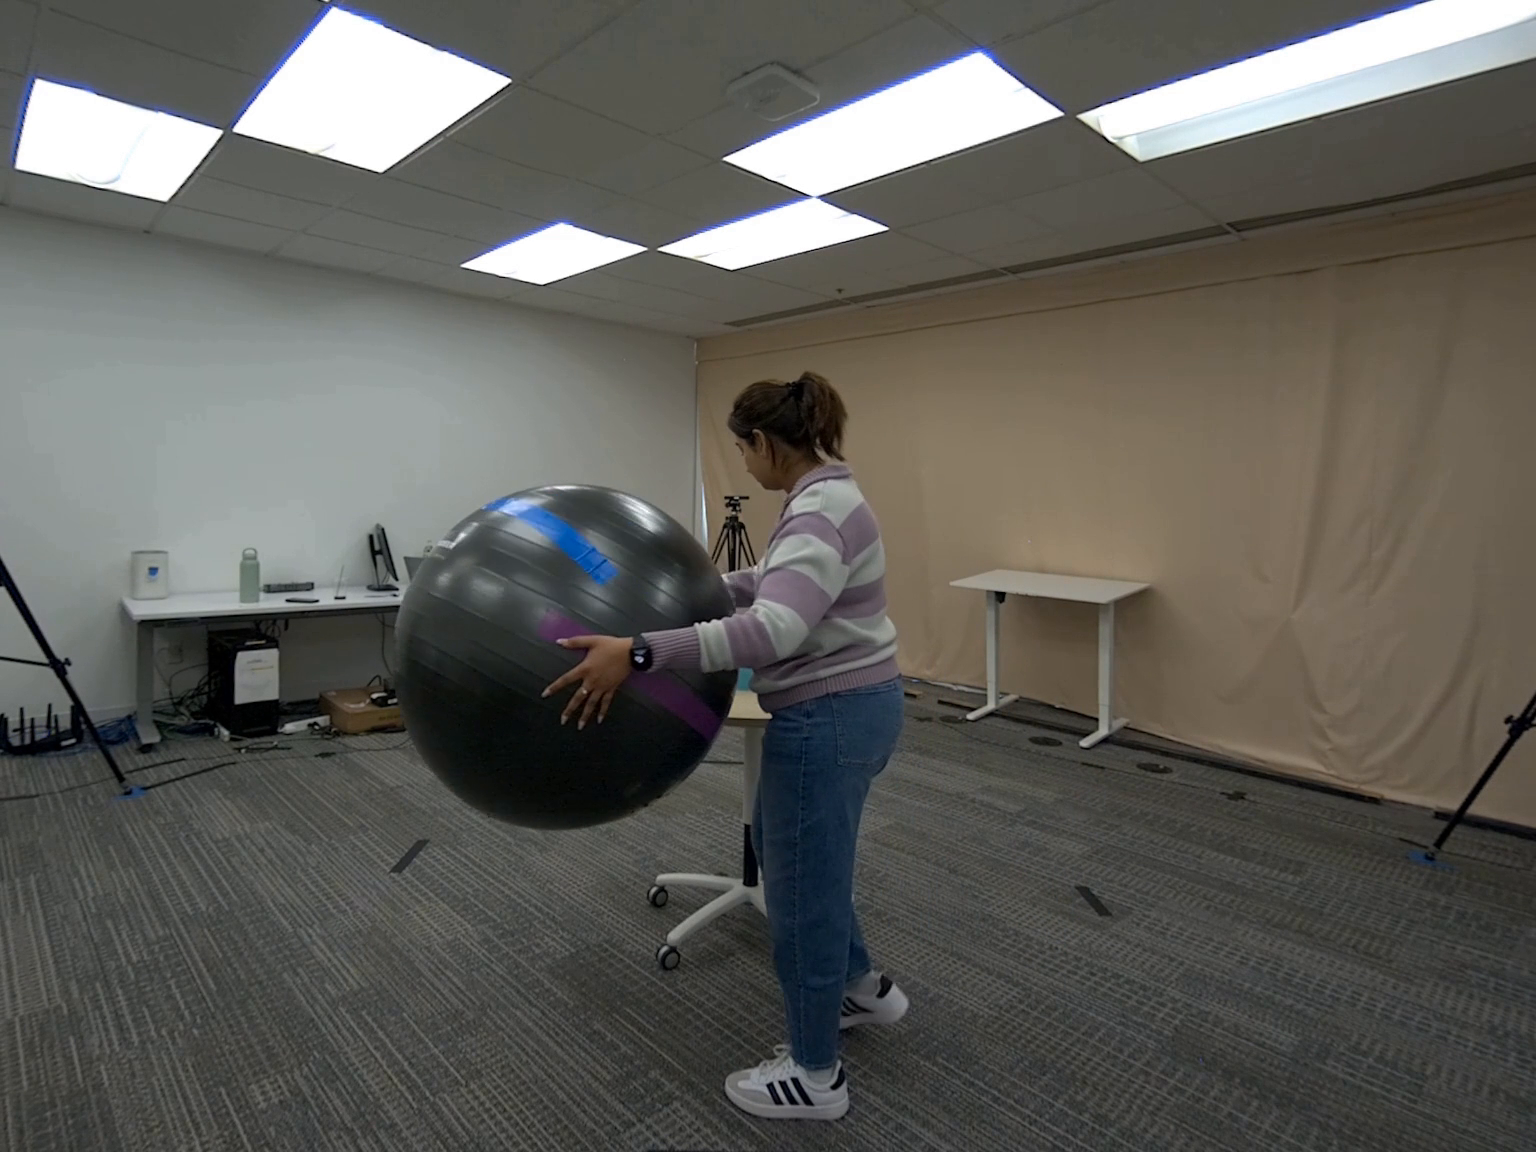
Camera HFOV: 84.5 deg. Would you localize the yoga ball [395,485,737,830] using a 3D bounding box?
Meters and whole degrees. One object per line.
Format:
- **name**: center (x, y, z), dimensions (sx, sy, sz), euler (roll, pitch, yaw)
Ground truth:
- **yoga ball**: center (-0.442, 0.184, 1.885), dimensions (0.757, 0.756, 0.761), euler (1, 4, -1)
